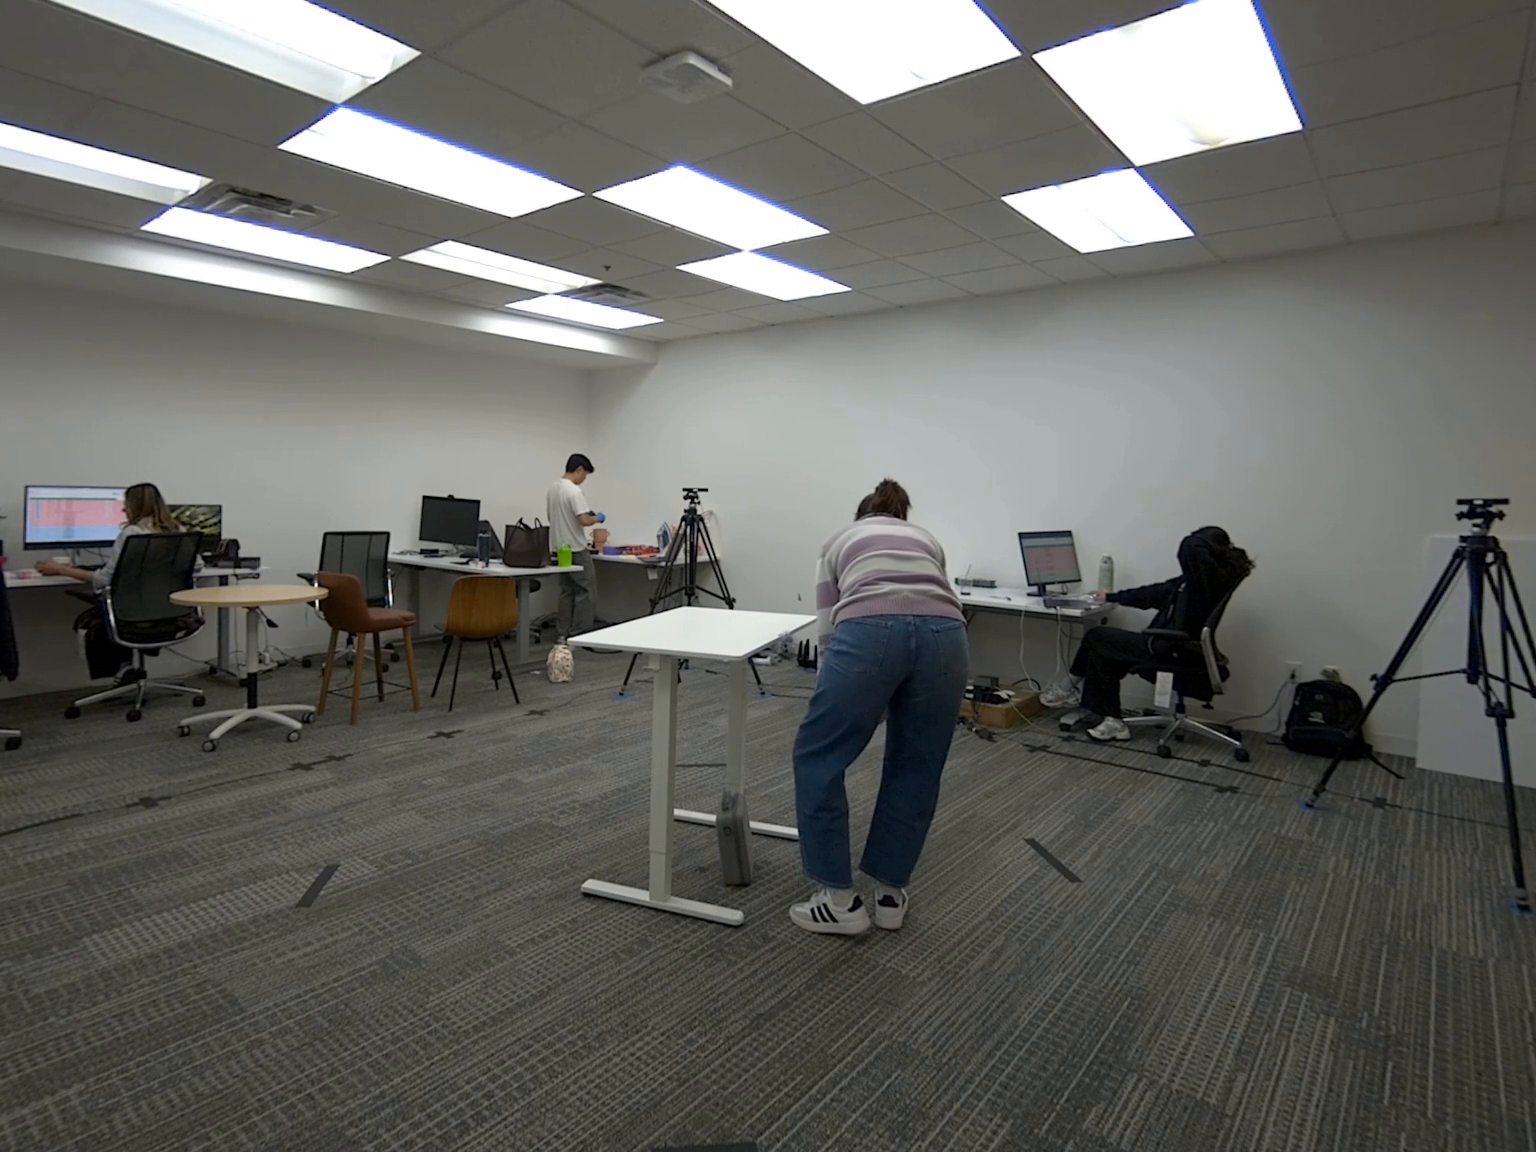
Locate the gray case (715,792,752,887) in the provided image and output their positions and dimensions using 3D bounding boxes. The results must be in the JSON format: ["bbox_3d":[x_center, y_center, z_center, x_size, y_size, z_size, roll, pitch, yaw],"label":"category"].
[{"bbox_3d":[-0.134,0.943,3.072,0.104,0.260,0.257,-6,2,0],"label":"gray case"}]
